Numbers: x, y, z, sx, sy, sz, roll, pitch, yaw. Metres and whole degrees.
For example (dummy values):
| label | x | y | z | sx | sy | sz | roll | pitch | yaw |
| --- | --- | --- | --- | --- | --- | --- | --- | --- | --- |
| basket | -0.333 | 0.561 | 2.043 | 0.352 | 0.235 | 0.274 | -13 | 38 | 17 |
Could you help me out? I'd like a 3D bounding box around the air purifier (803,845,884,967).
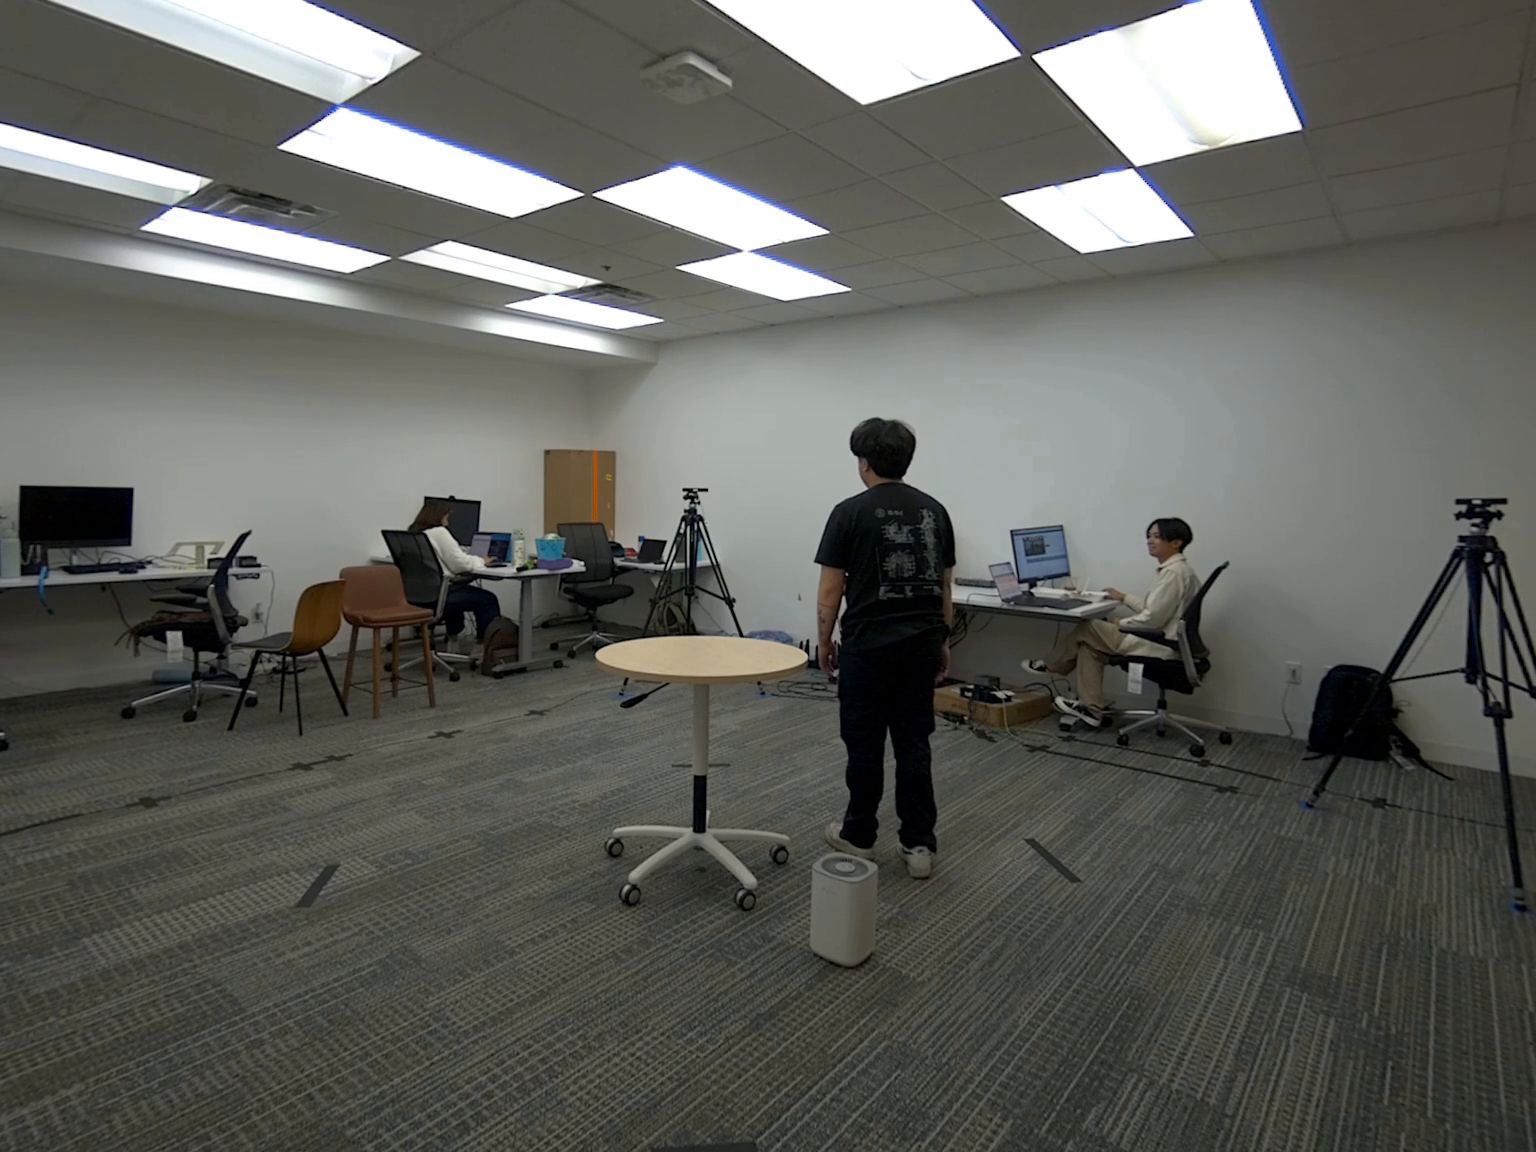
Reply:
| label | x | y | z | sx | sy | sz | roll | pitch | yaw |
| --- | --- | --- | --- | --- | --- | --- | --- | --- | --- |
| air purifier | 0.228 | 0.991 | 2.560 | 0.177 | 0.264 | 0.167 | 4 | 5 | 36 |
